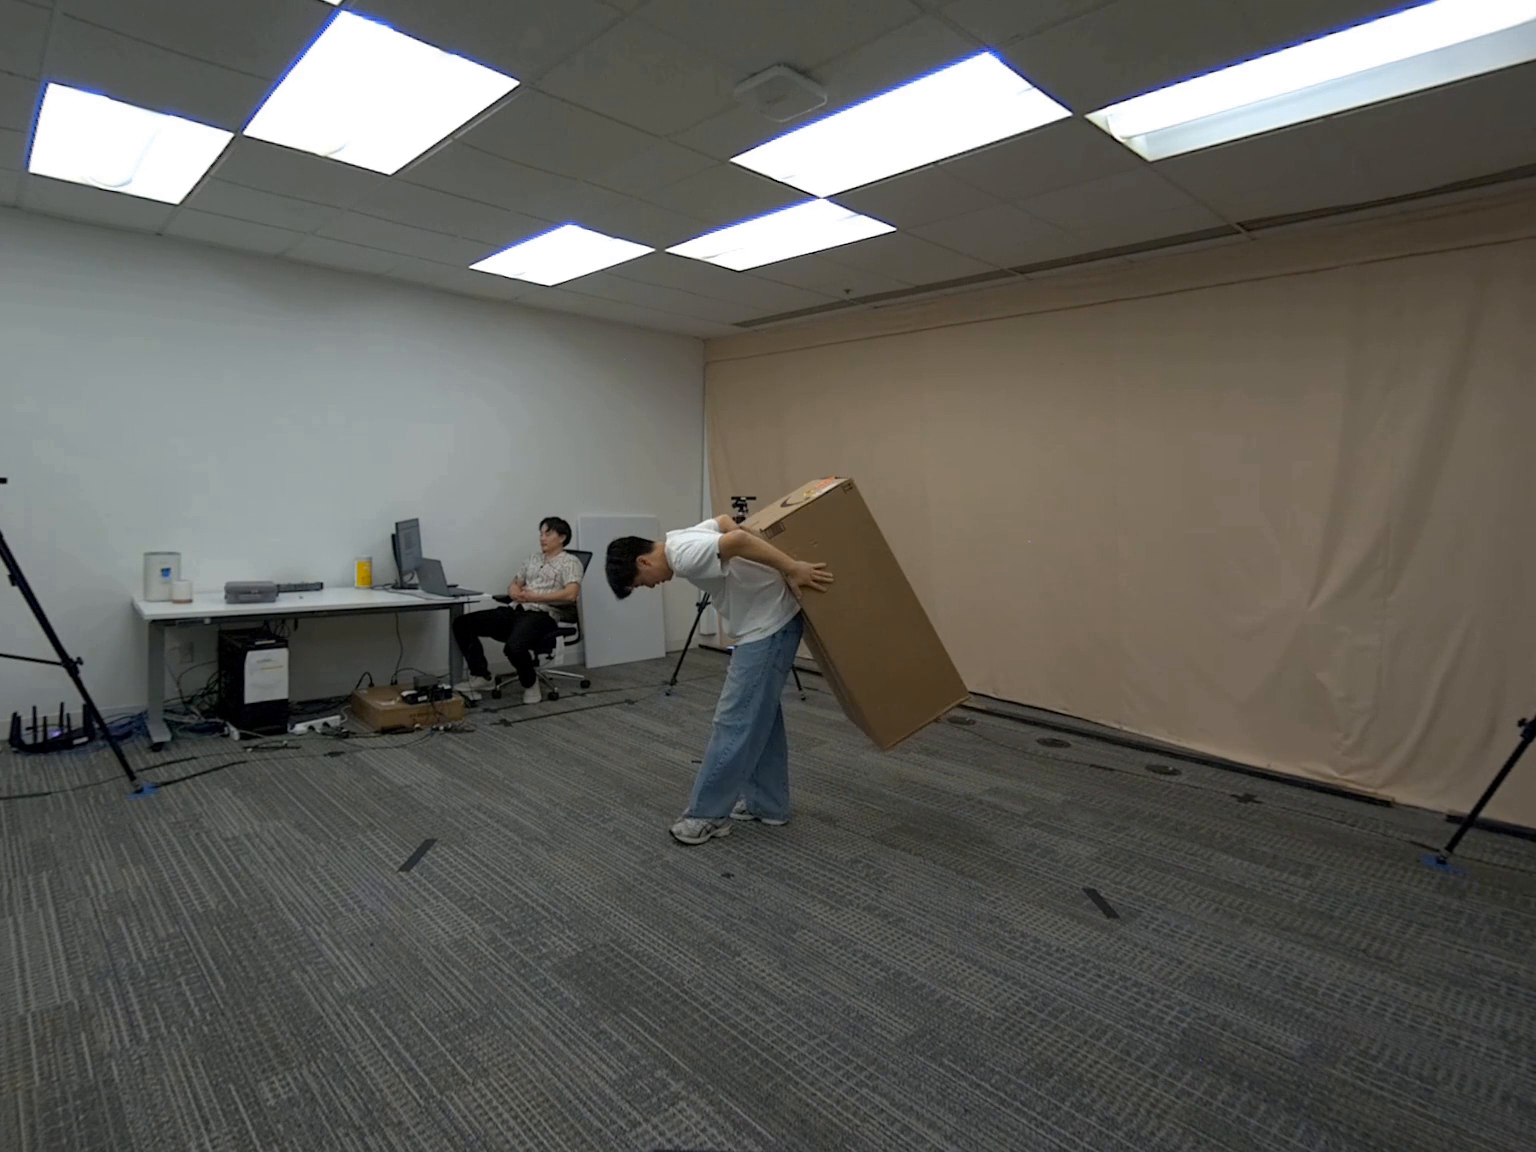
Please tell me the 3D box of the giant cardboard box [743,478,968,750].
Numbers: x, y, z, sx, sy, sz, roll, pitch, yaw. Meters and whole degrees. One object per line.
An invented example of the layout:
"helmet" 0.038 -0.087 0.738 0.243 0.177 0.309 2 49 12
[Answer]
"giant cardboard box" 0.336 0.133 3.588 0.425 1.018 0.583 -30 7 -6
